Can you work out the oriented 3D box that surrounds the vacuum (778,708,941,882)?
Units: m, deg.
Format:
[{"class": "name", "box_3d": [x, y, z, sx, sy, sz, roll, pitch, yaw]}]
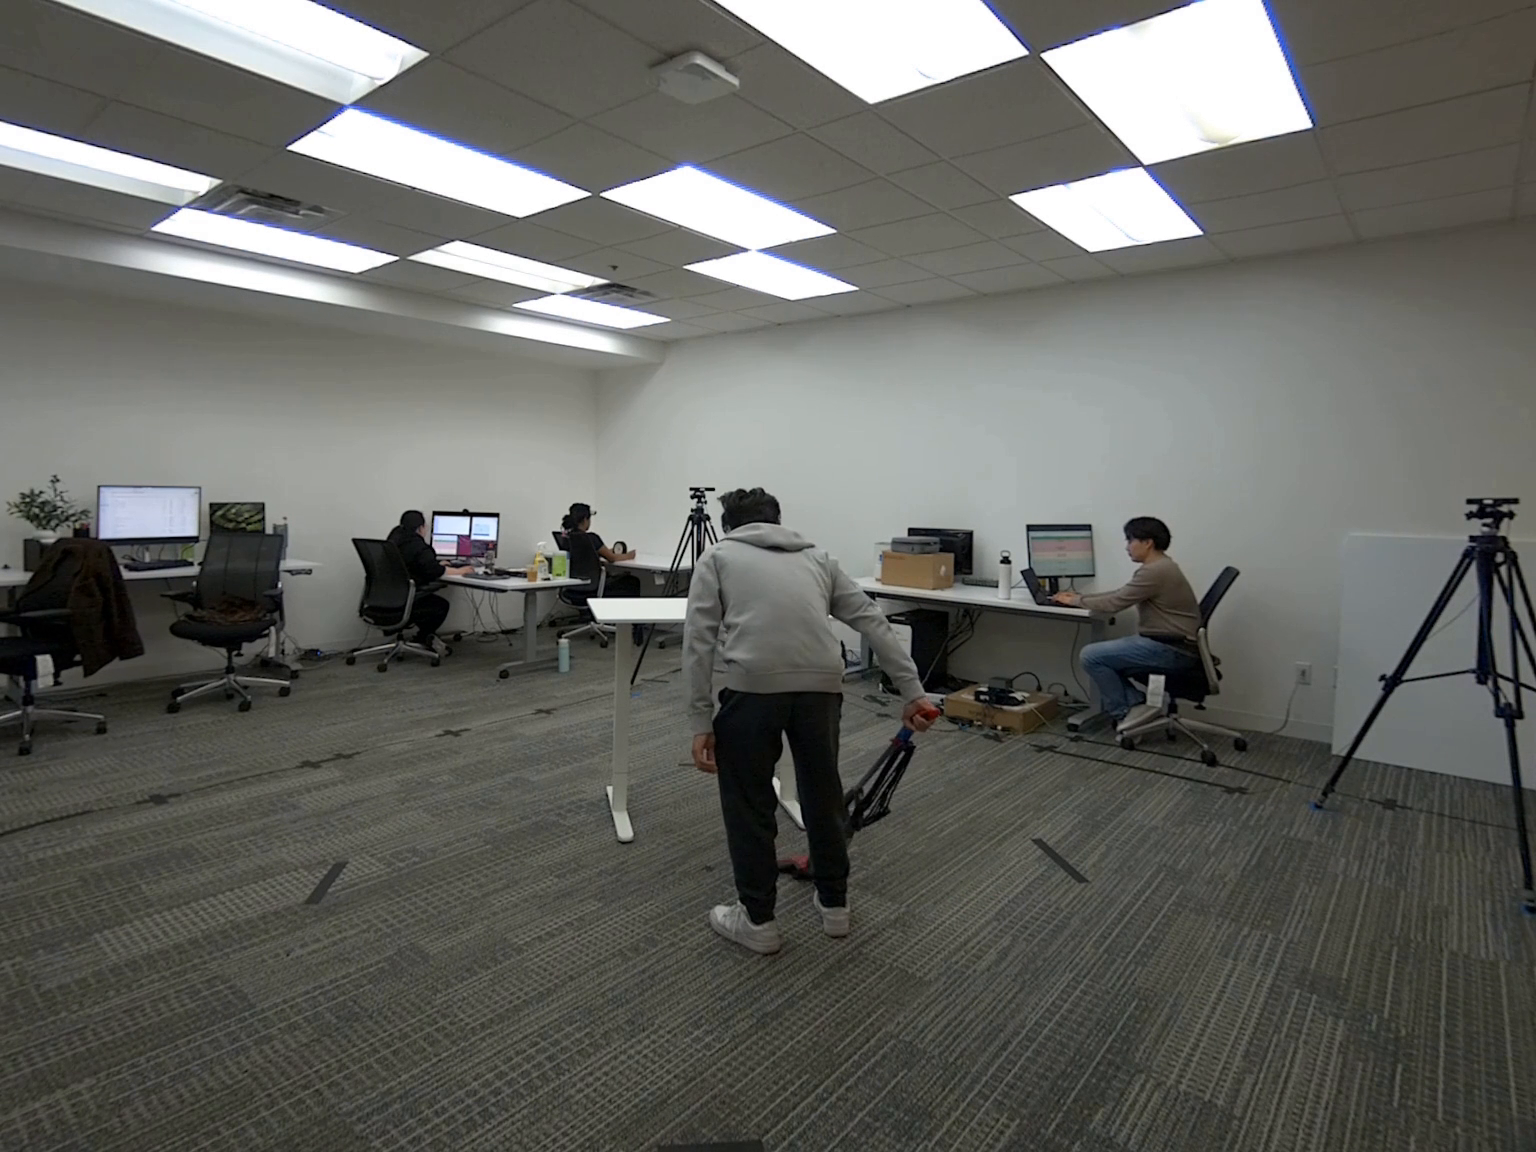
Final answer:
[{"class": "vacuum", "box_3d": [0.284, 0.740, 2.765, 0.246, 0.149, 1.038, 5, -41, -23]}]
